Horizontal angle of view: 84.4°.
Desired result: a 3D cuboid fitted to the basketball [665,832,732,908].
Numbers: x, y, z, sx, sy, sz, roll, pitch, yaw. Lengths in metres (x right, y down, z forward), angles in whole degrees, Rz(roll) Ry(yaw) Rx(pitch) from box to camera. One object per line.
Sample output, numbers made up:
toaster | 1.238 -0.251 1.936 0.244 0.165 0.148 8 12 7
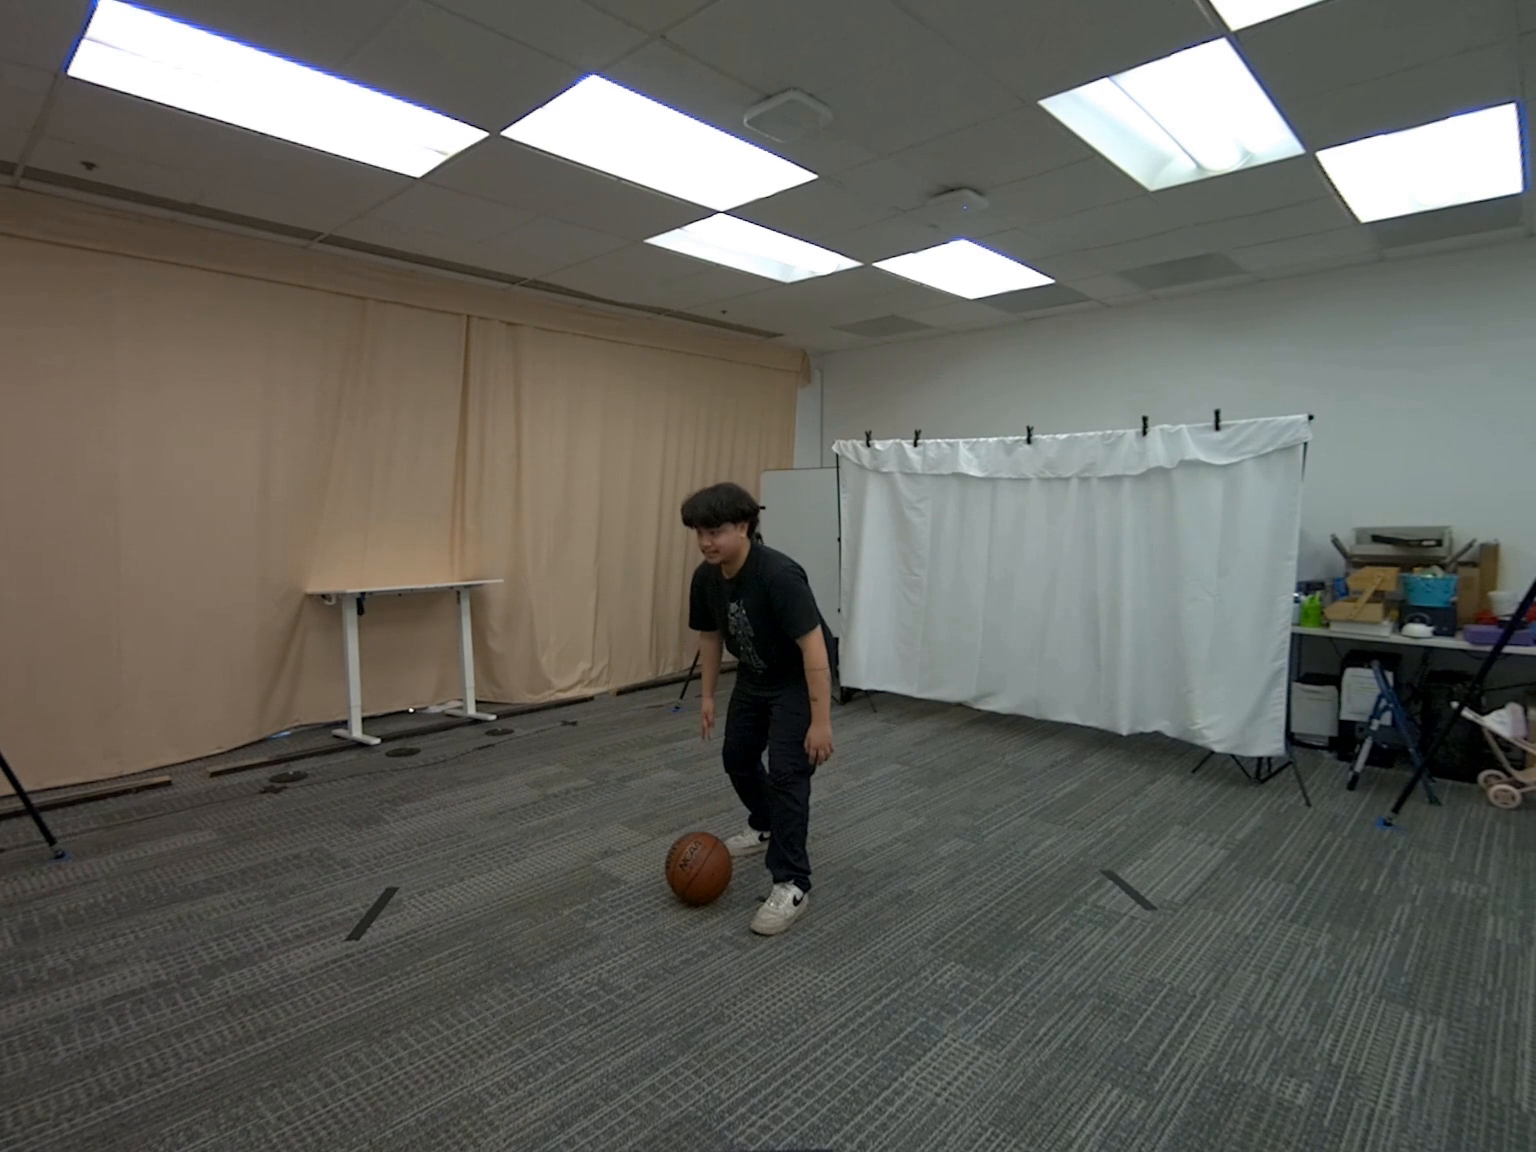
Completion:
basketball | -0.247 1.030 2.968 0.236 0.235 0.237 0 4 -2
